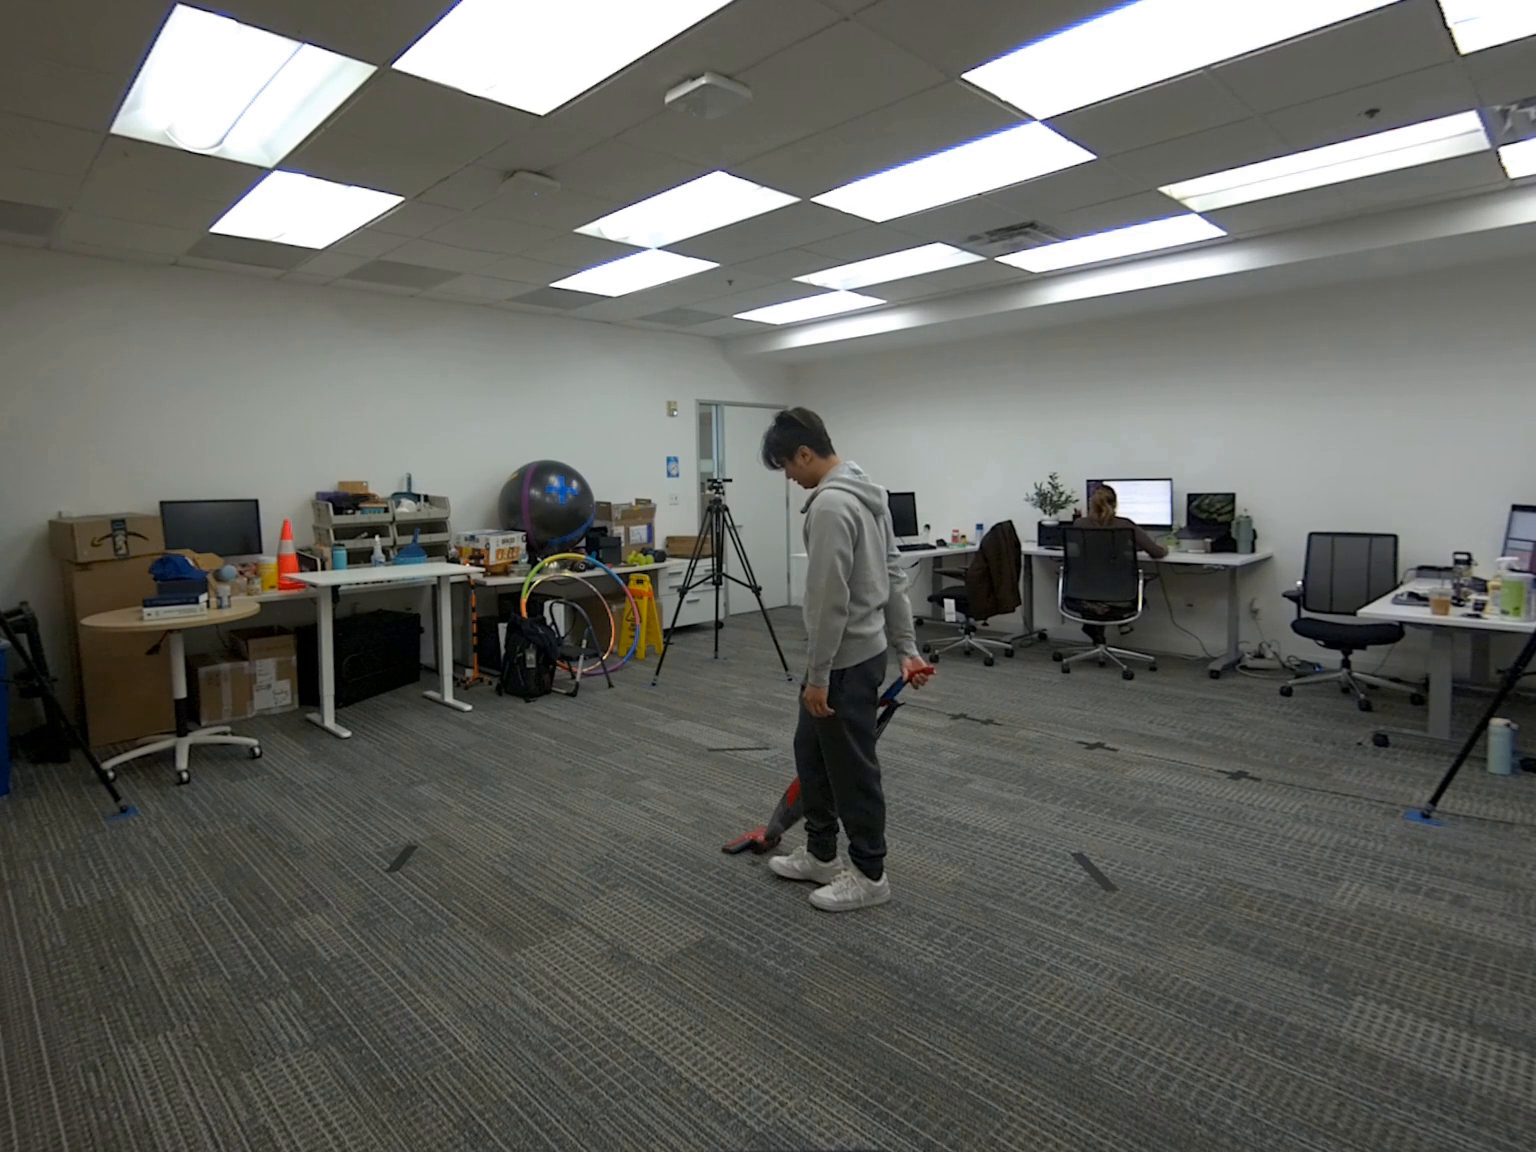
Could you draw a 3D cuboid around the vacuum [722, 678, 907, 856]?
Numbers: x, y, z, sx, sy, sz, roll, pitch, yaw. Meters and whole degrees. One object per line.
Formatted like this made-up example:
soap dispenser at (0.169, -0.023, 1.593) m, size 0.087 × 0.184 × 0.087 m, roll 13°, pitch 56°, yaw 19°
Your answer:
vacuum at (0.222, 0.680, 3.035) m, size 1.047 × 0.147 × 0.248 m, roll -49°, pitch -14°, yaw 29°
